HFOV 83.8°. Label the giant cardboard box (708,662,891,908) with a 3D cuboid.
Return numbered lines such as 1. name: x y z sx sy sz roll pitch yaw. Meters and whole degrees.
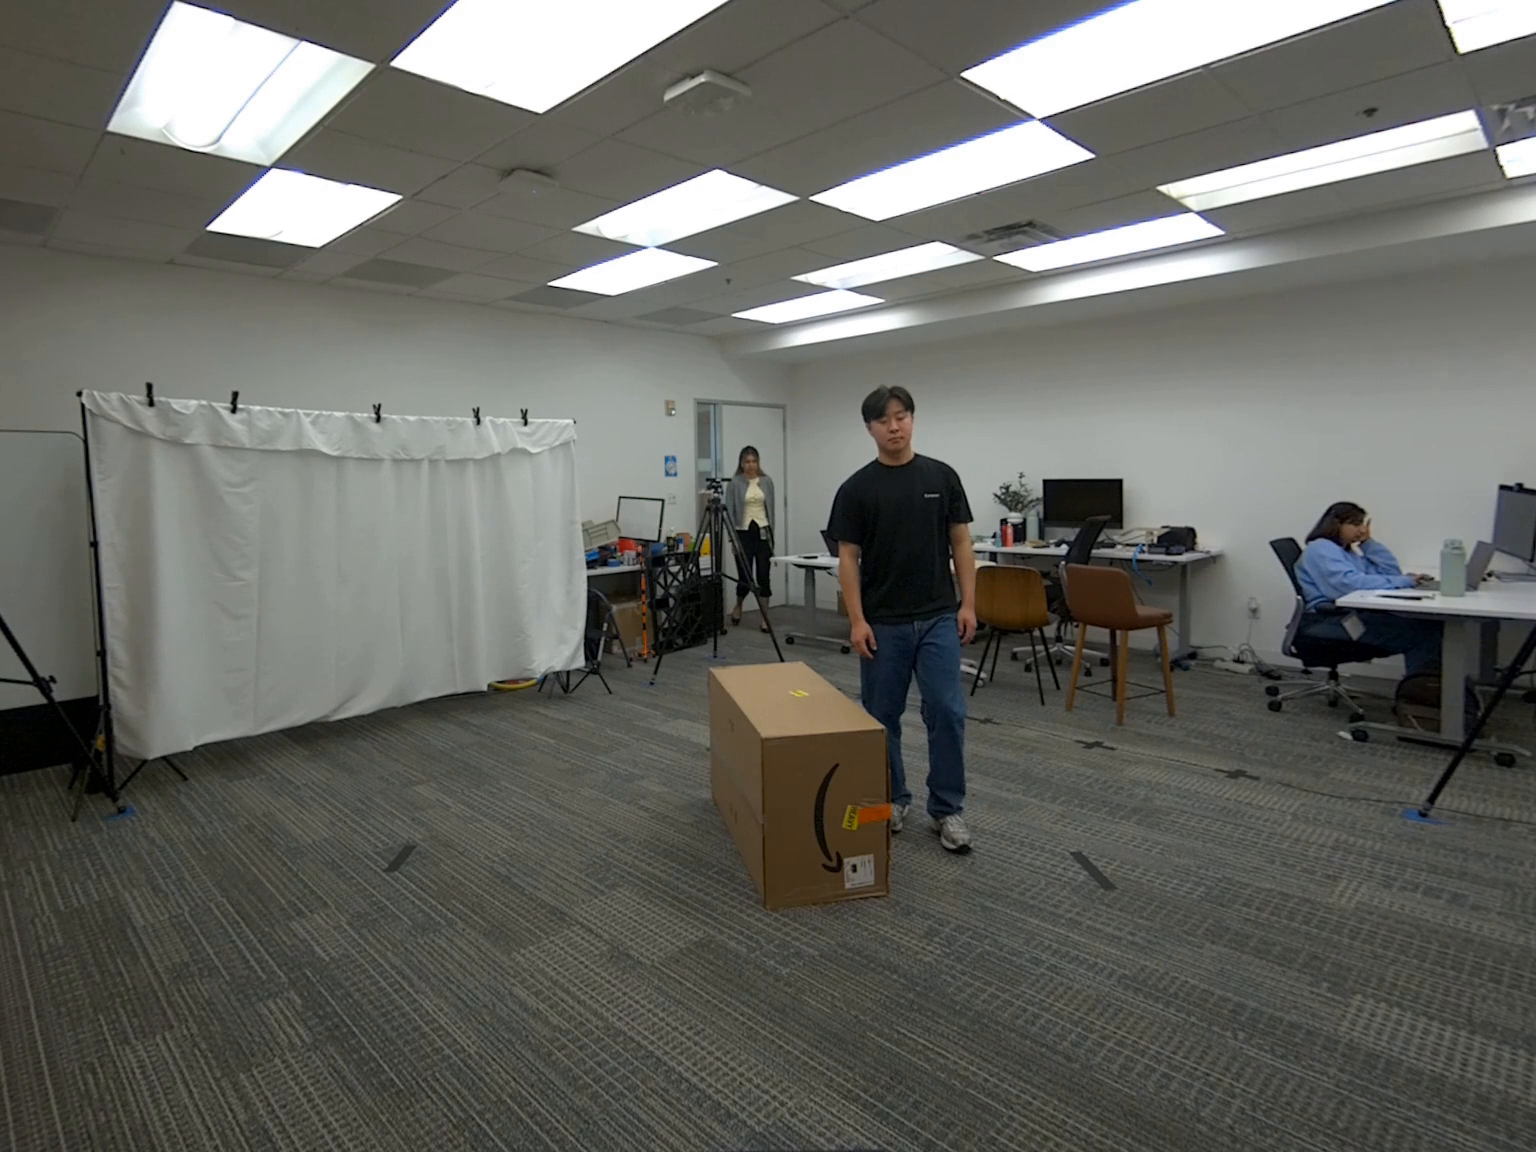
1. giant cardboard box: 0.076 0.731 3.281 0.441 0.581 1.044 -1 6 -14
